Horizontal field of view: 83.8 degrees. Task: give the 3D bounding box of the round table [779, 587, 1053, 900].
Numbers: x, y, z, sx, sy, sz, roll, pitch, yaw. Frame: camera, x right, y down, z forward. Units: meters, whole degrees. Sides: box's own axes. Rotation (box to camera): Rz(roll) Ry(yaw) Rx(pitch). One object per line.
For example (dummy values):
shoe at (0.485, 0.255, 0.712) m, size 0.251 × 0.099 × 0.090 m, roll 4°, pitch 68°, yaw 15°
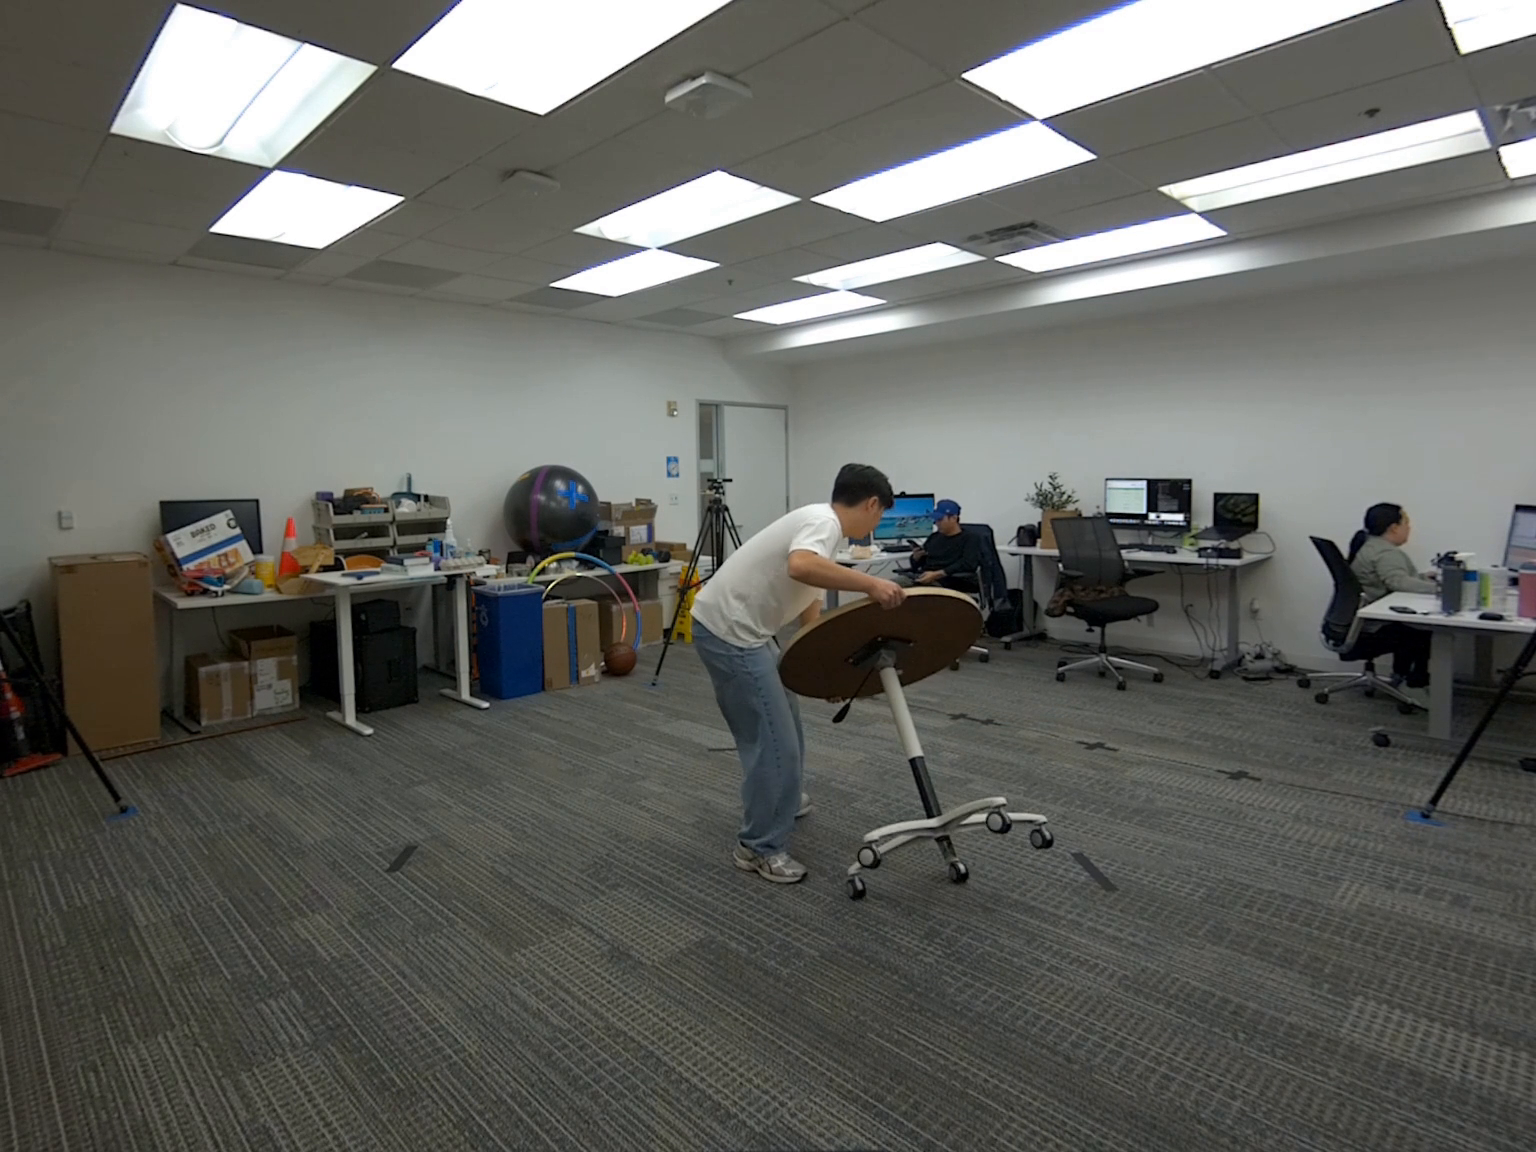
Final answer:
round table at (0.495, 0.585, 2.901) m, size 0.759 × 0.818 × 0.745 m, roll -9°, pitch -33°, yaw -7°
